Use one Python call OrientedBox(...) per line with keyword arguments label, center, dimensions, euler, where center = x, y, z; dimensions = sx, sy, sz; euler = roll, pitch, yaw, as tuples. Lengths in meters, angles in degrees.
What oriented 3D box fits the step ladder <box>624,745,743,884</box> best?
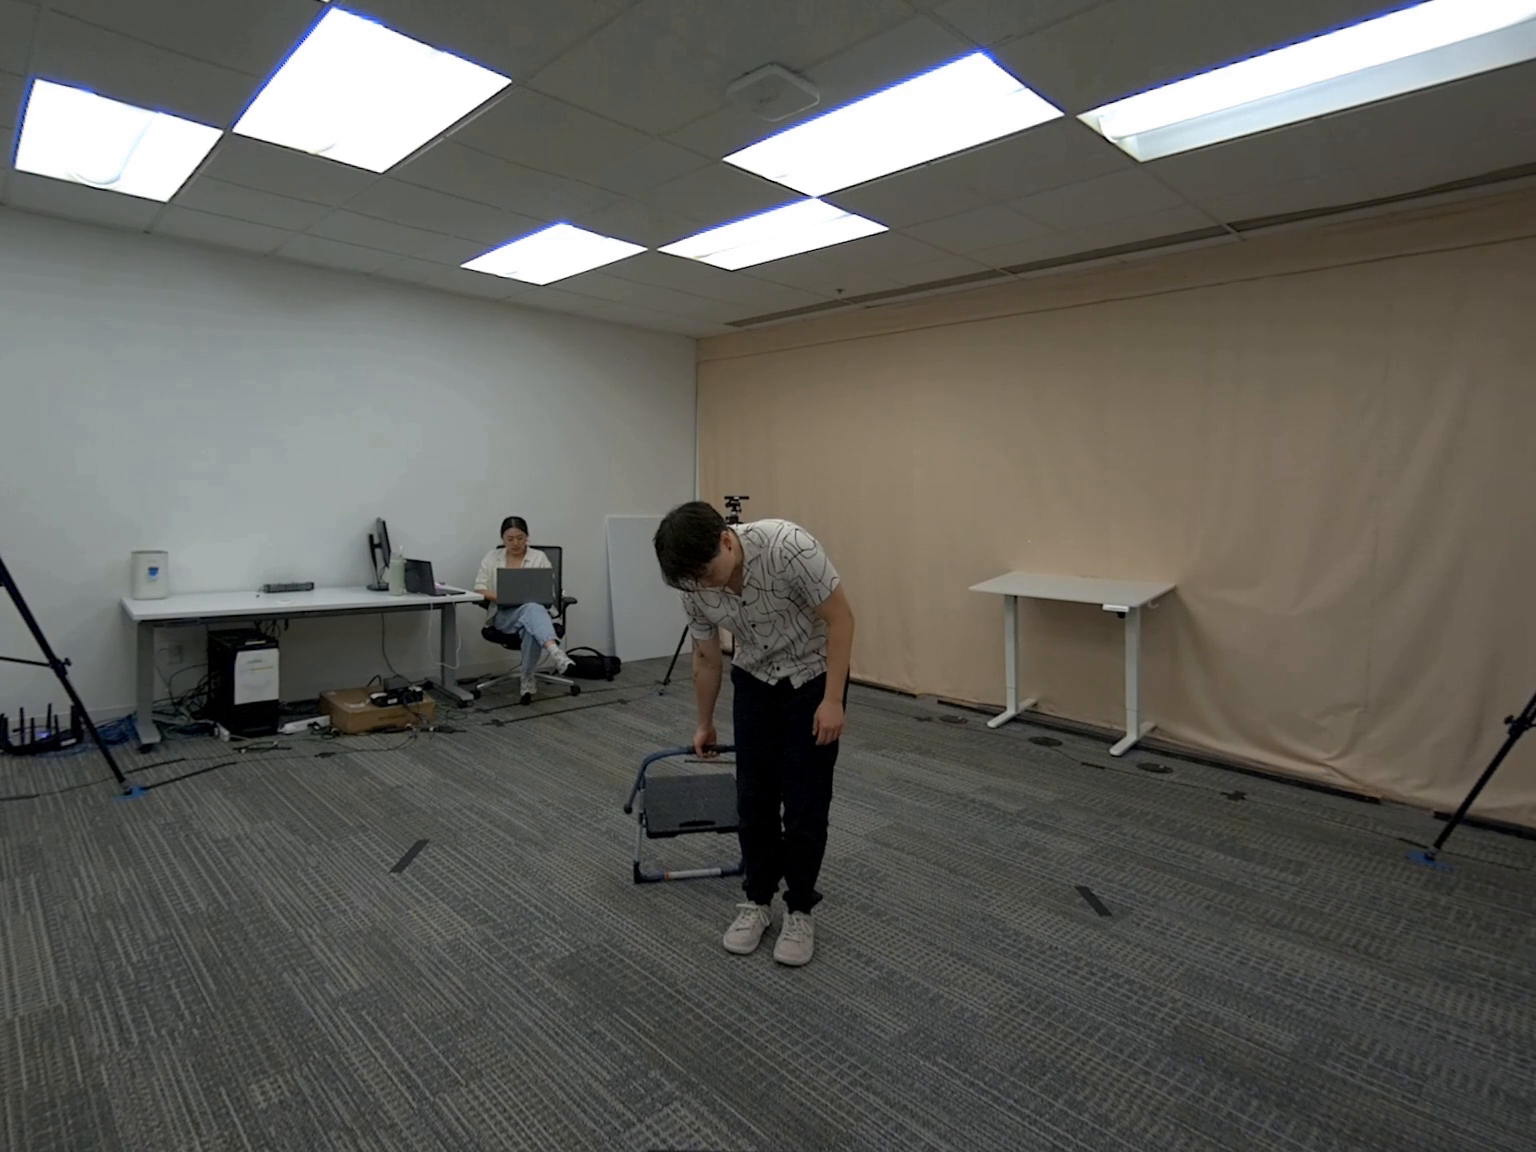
OrientedBox(label="step ladder", center=(-0.280, 0.768, 3.035), dimensions=(0.425, 0.596, 0.359), euler=(0, 37, -16))
